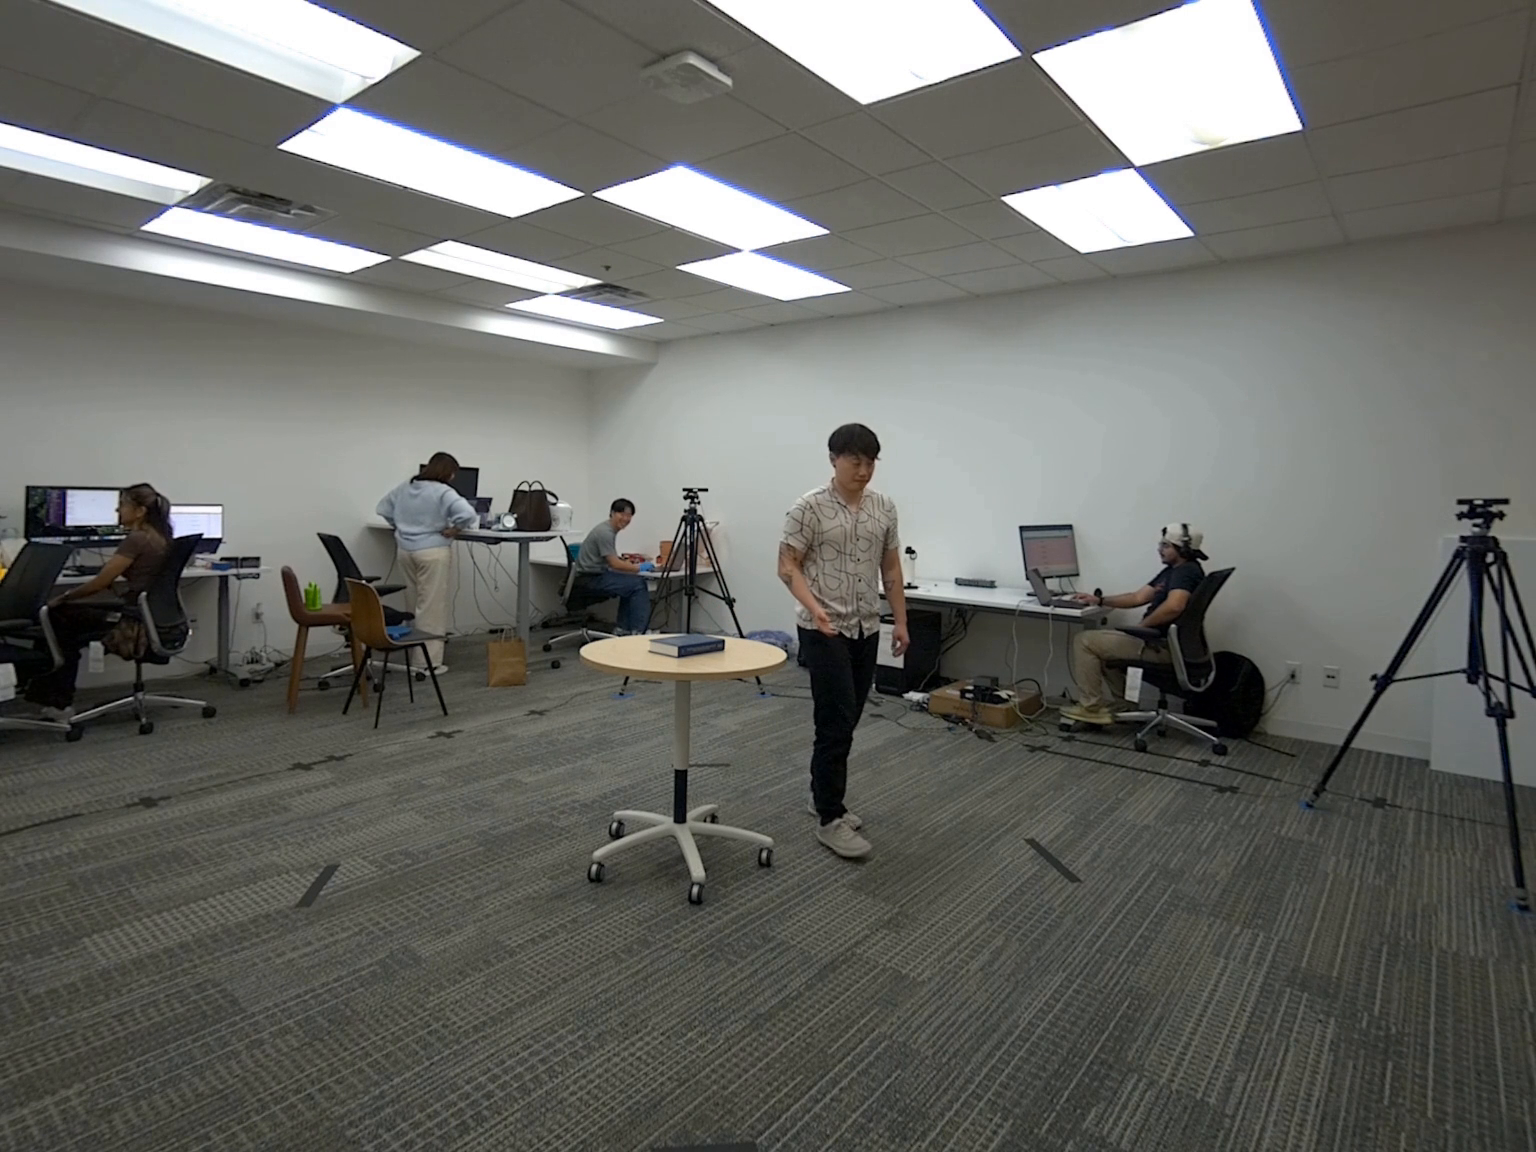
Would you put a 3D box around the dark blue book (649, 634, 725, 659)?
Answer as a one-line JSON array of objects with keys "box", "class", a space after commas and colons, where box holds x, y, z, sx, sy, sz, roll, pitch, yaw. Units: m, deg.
[{"box": [-0.325, 0.263, 3.168, 0.169, 0.045, 0.238, 6, 7, 42], "class": "dark blue book"}]
